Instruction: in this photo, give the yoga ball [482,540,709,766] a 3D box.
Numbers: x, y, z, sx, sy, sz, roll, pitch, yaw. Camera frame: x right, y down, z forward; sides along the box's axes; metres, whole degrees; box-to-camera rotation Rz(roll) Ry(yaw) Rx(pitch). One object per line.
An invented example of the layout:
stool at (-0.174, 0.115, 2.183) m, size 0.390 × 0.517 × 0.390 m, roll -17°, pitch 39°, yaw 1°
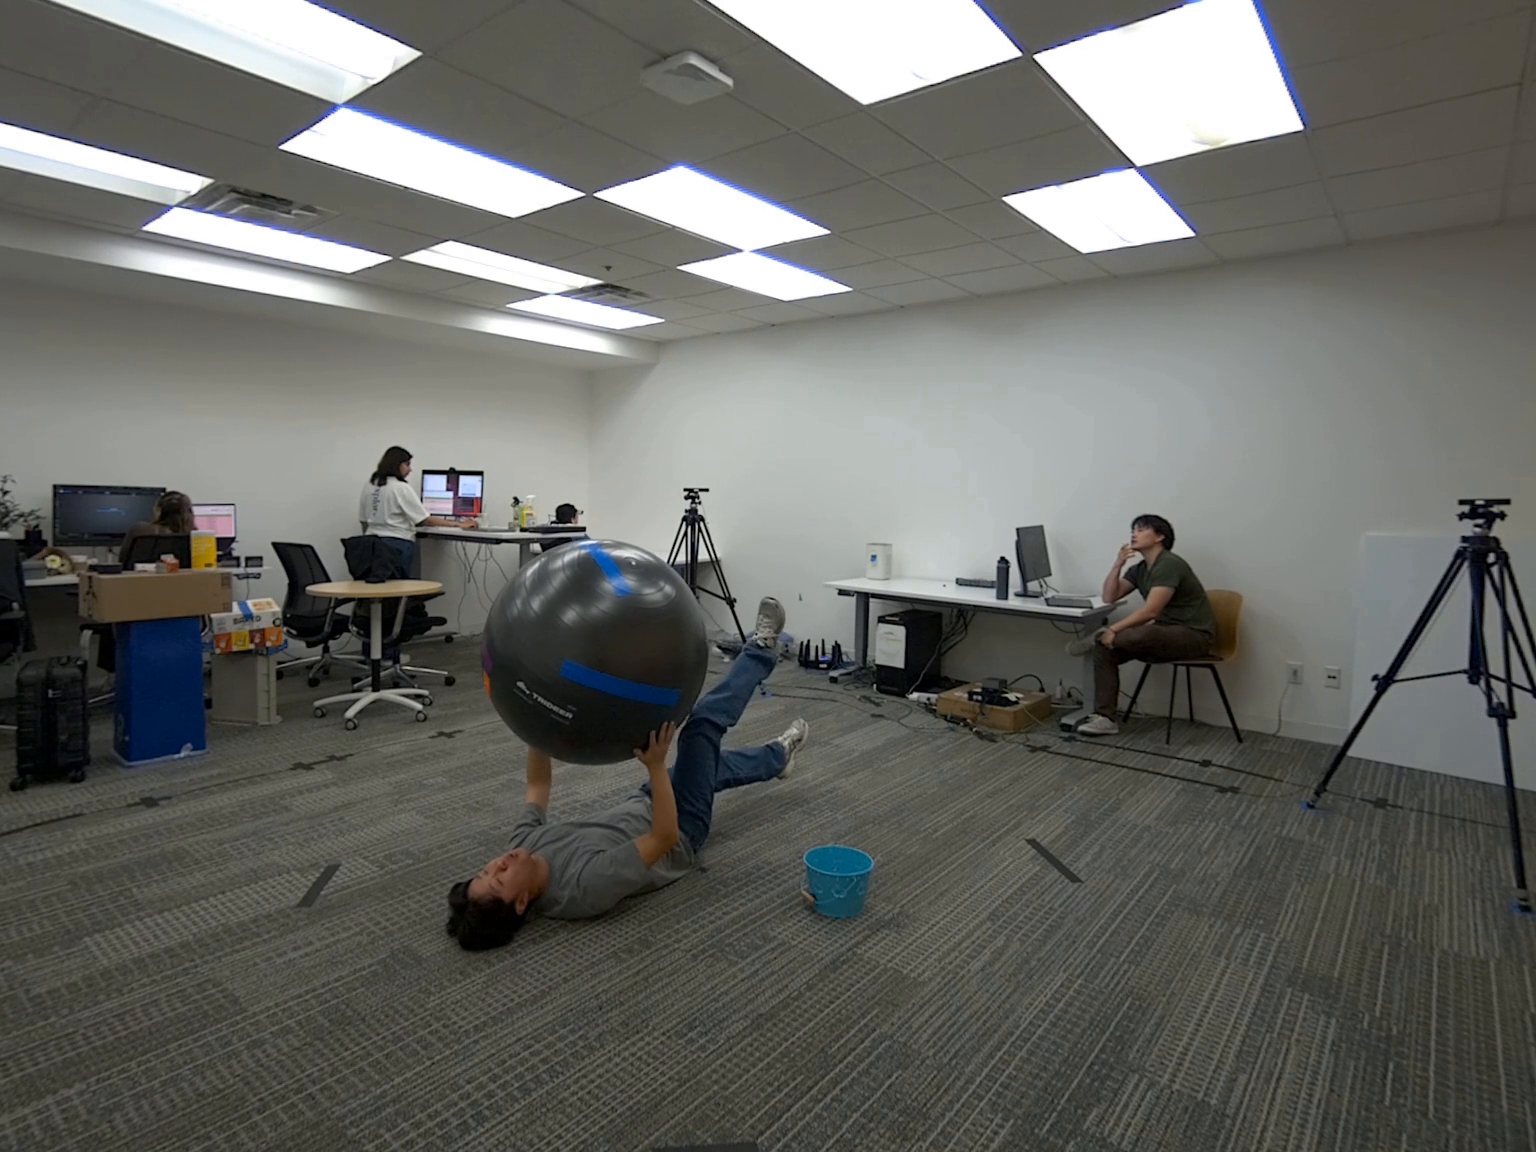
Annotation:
yoga ball at (-0.589, 0.262, 2.895) m, size 0.757 × 0.756 × 0.762 m, roll 1°, pitch 4°, yaw -2°
